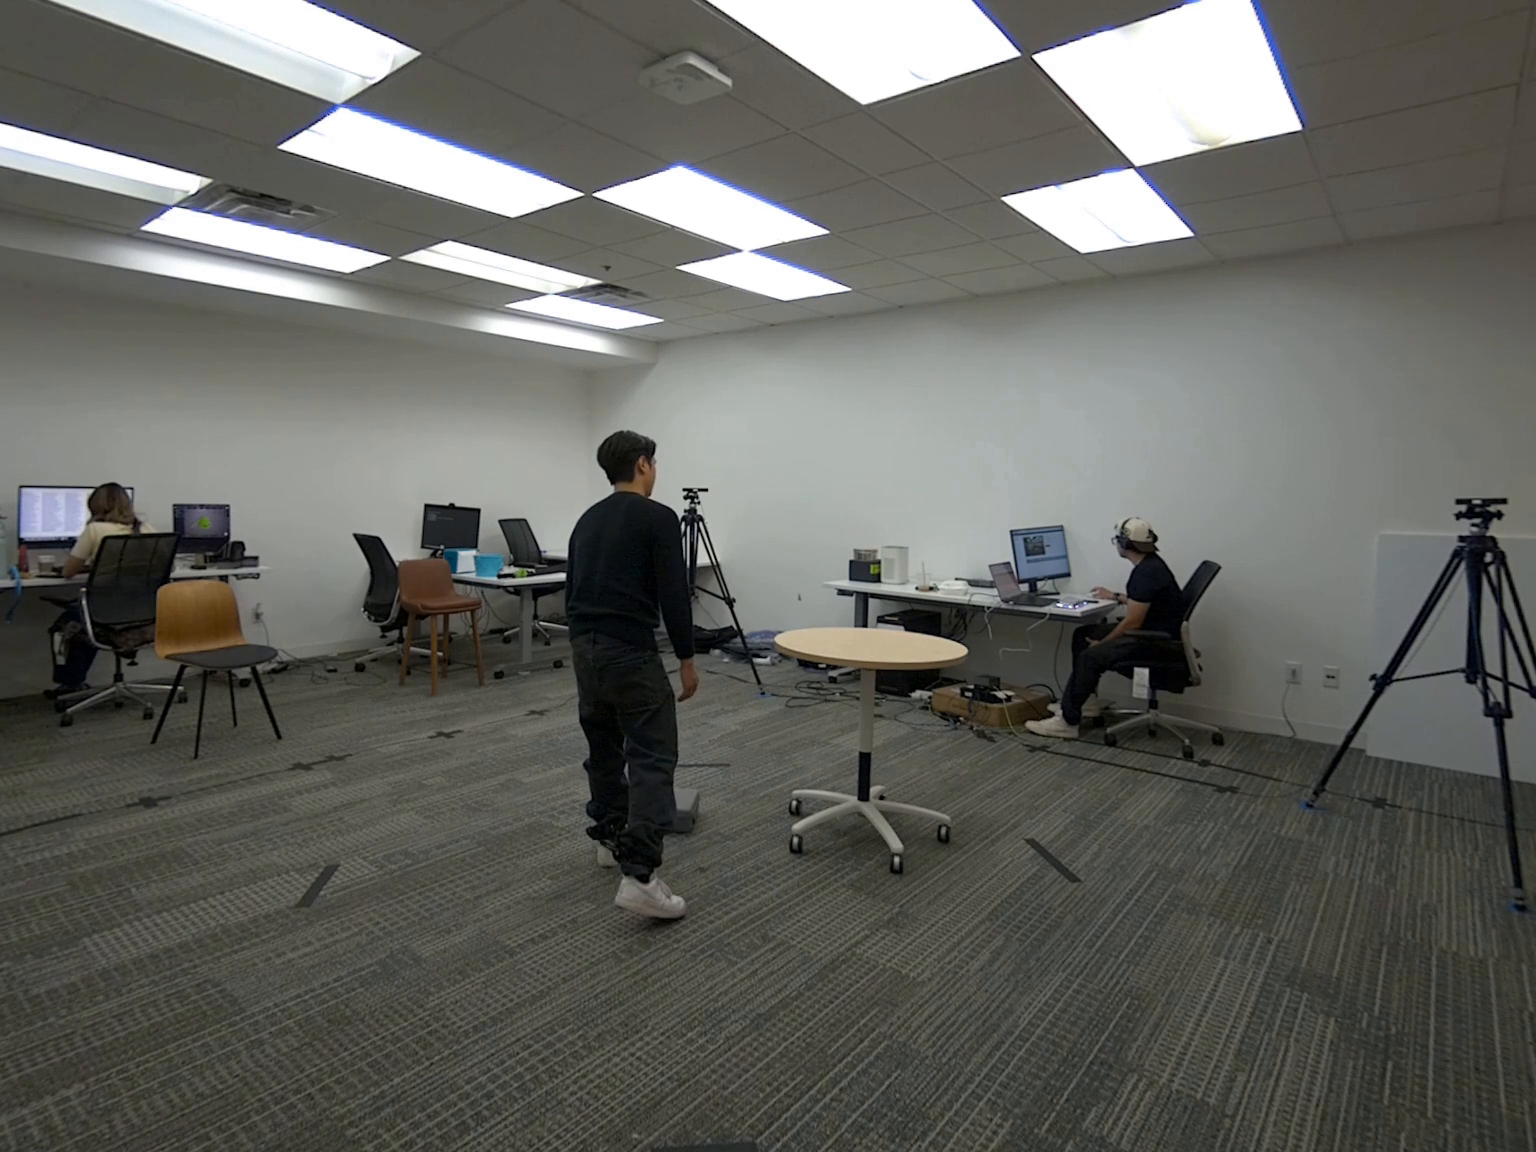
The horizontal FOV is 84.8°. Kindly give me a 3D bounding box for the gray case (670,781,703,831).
[{"bbox_3d":[-0.428,0.960,3.548,0.259,0.104,0.260,1,6,6],"label":"gray case"}]
